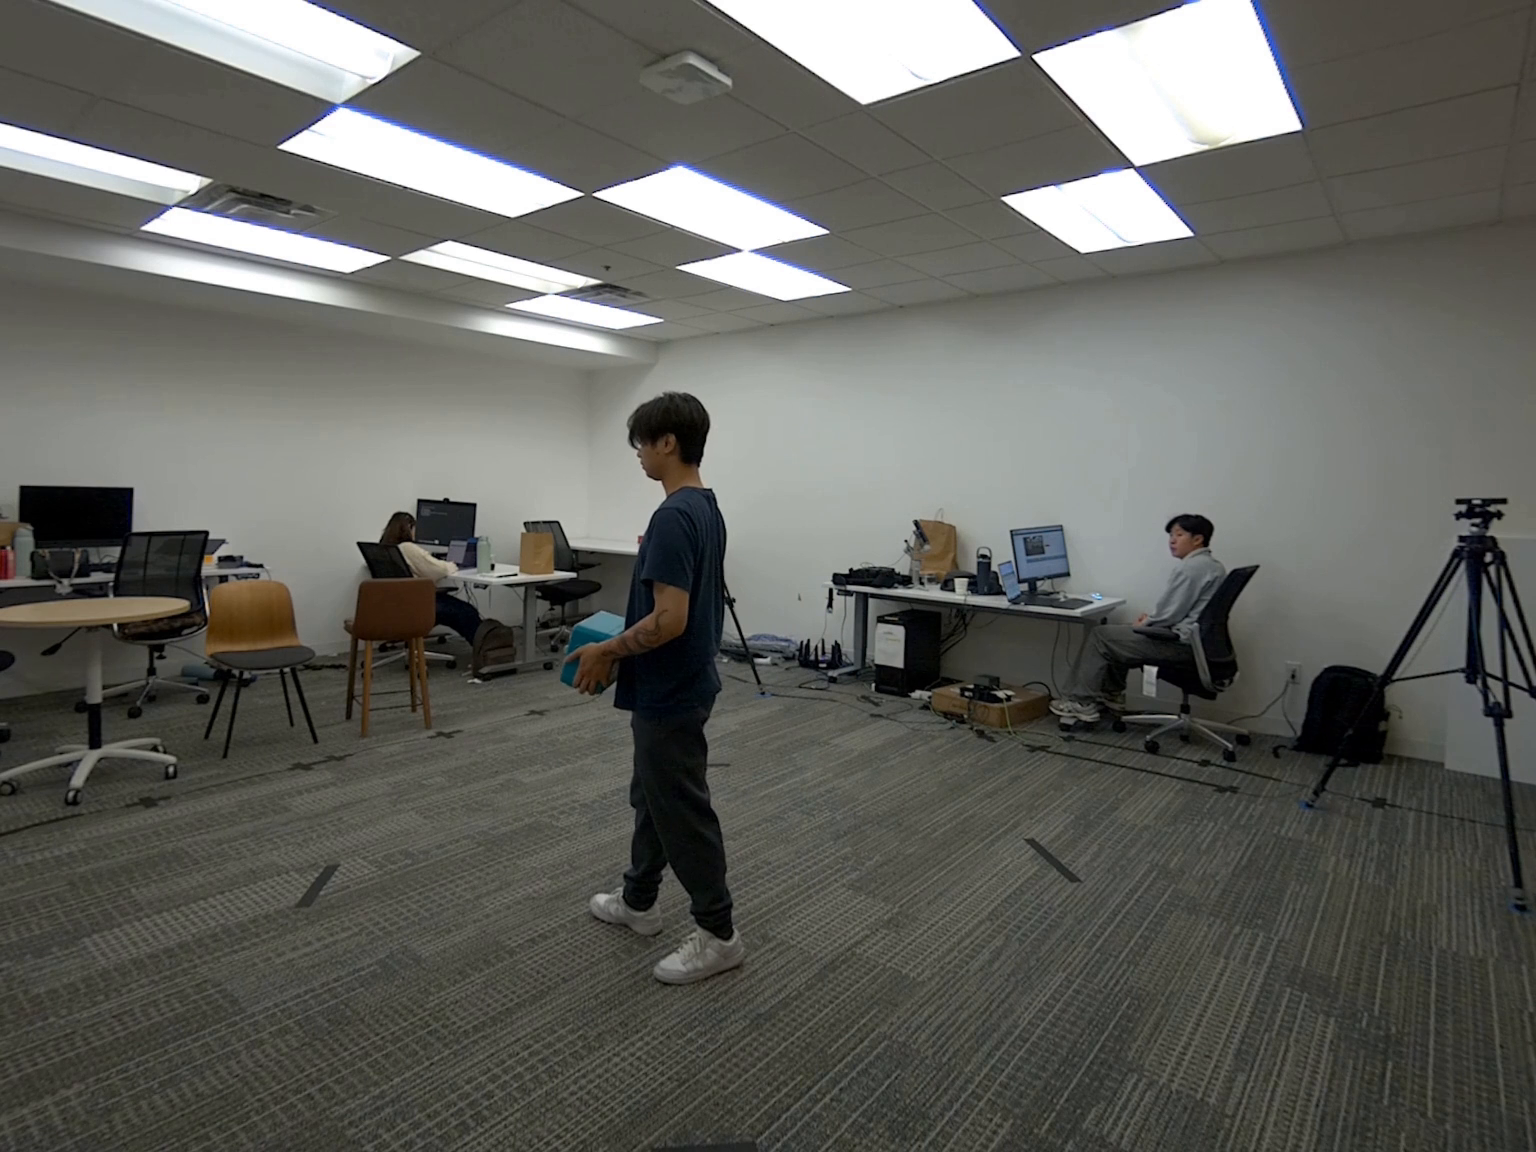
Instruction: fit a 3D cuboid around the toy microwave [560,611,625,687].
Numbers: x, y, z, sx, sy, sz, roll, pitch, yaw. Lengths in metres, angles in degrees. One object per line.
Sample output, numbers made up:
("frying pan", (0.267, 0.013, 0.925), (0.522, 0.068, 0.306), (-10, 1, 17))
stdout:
("toy microwave", (-0.516, 0.209, 2.529), (0.153, 0.183, 0.285), (12, 7, 4))
